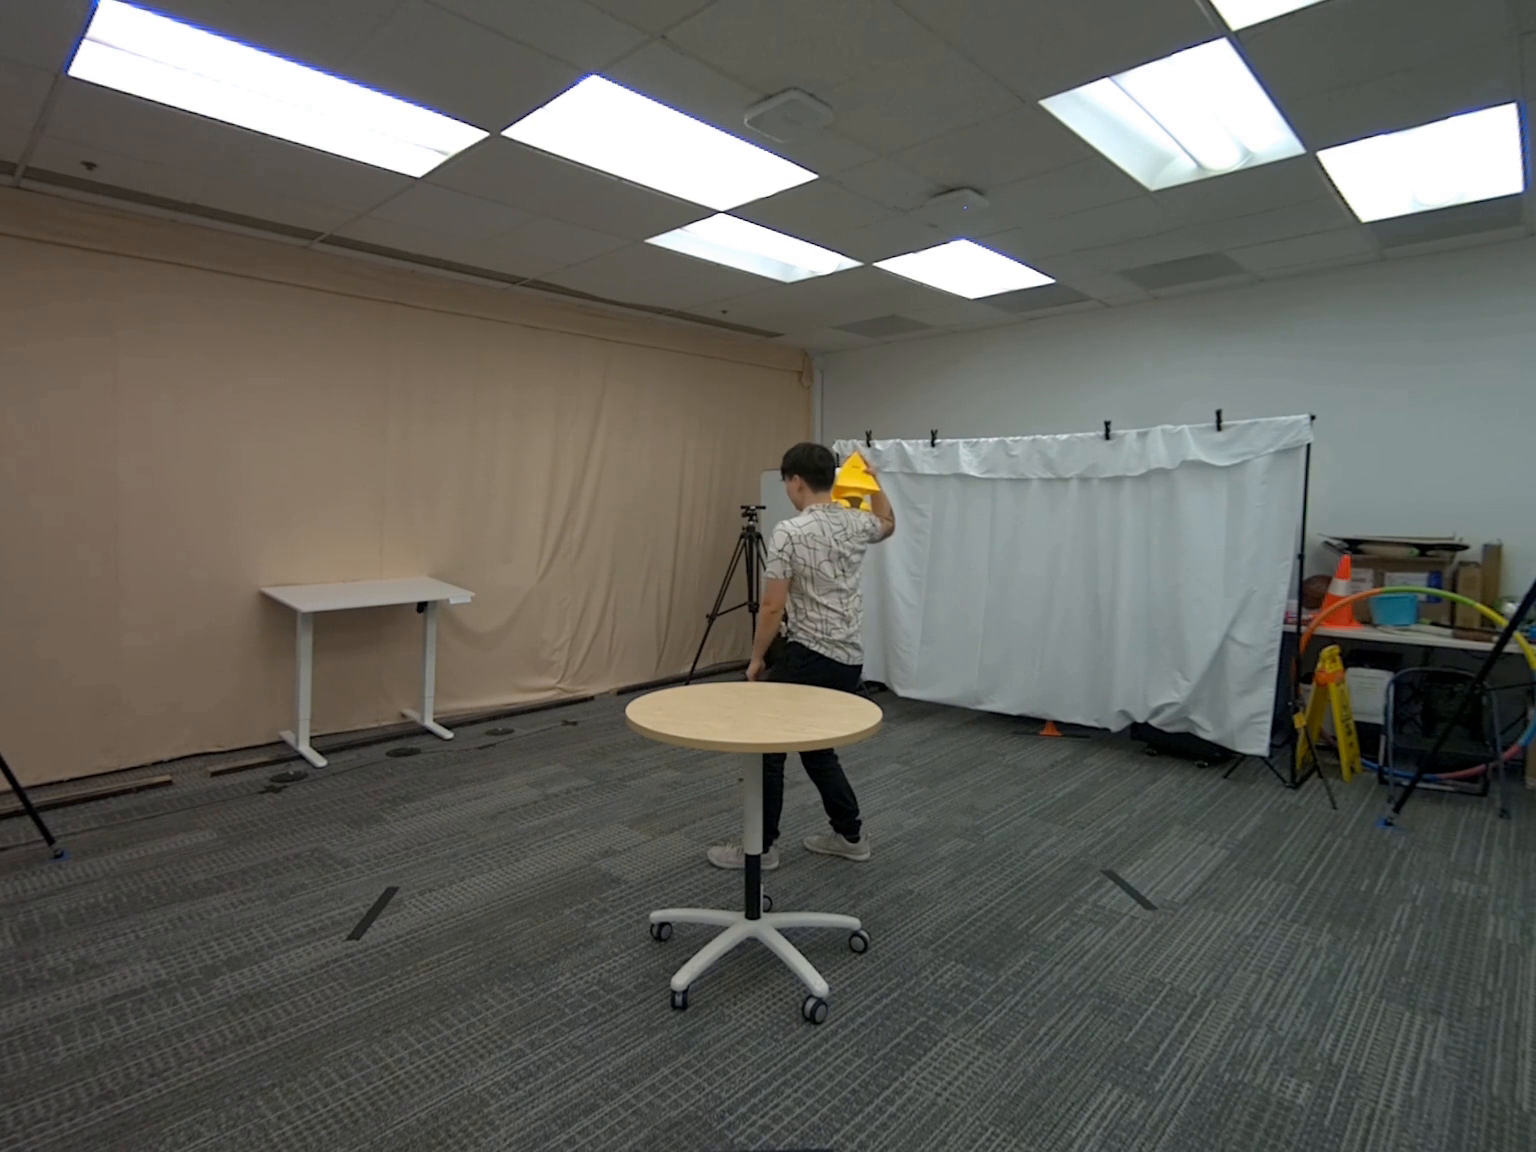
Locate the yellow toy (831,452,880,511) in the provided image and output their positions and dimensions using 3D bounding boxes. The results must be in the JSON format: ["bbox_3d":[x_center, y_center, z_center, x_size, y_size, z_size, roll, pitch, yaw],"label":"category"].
[{"bbox_3d":[0.329,-0.386,3.437,0.200,0.231,0.197,5,-6,-22],"label":"yellow toy"}]
